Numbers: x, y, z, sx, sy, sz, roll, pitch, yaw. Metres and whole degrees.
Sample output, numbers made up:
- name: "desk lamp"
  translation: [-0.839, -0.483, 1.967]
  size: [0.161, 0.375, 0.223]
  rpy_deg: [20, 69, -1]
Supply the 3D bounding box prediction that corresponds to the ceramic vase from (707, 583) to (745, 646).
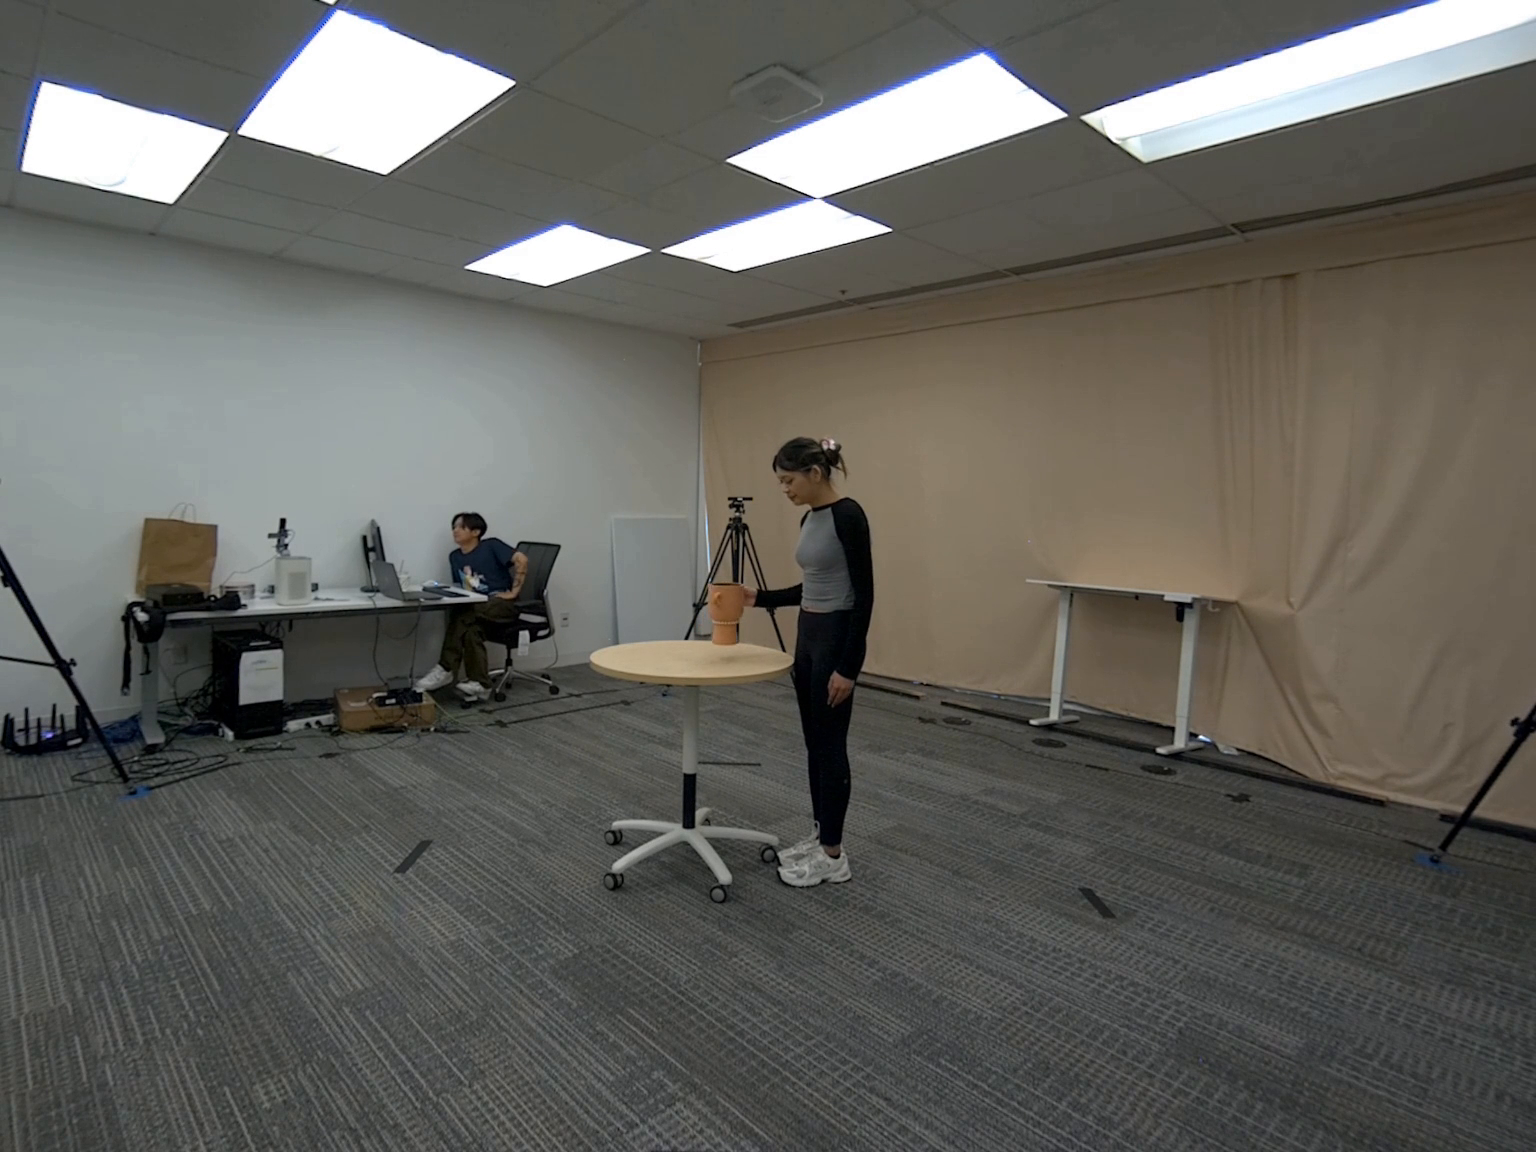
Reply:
- name: "ceramic vase"
  translation: [-0.155, 0.144, 3.110]
  size: [0.156, 0.219, 0.137]
  rpy_deg: [-1, 4, -27]
